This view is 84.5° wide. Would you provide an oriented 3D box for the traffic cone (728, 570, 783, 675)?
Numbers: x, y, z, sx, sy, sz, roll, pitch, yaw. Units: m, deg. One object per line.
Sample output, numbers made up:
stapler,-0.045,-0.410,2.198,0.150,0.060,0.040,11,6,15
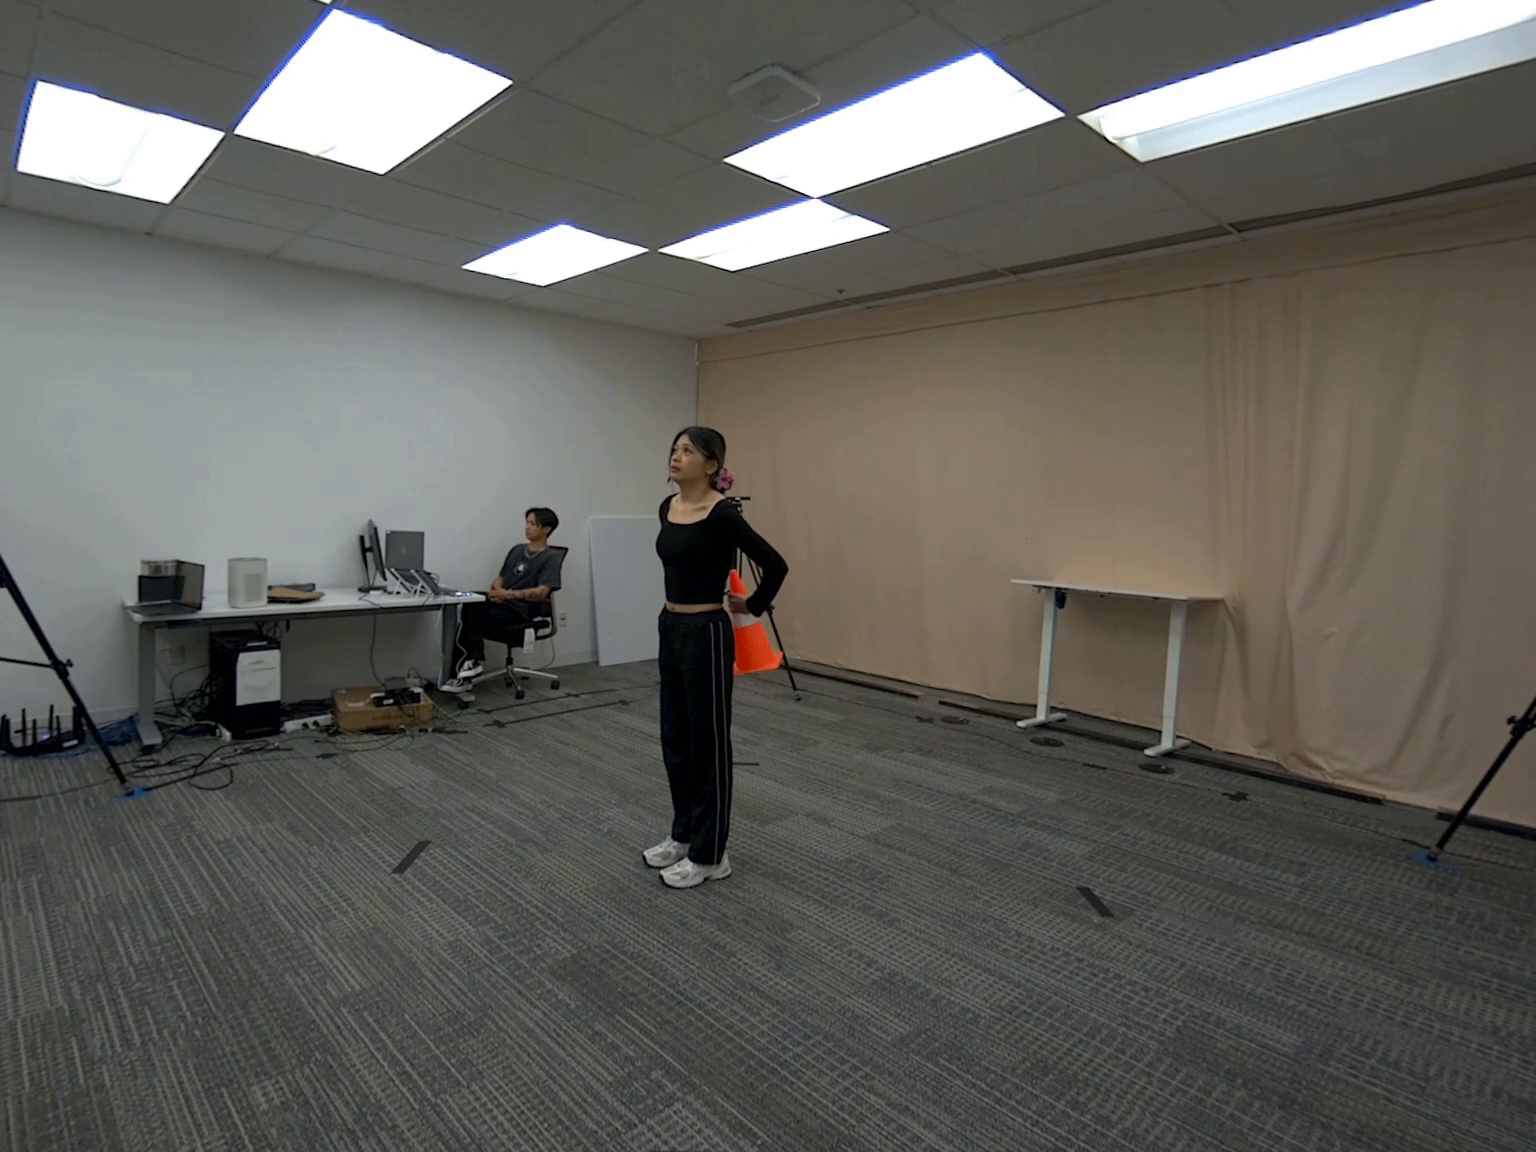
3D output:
traffic cone,-0.093,0.163,3.261,0.205,0.381,0.204,-9,7,16
